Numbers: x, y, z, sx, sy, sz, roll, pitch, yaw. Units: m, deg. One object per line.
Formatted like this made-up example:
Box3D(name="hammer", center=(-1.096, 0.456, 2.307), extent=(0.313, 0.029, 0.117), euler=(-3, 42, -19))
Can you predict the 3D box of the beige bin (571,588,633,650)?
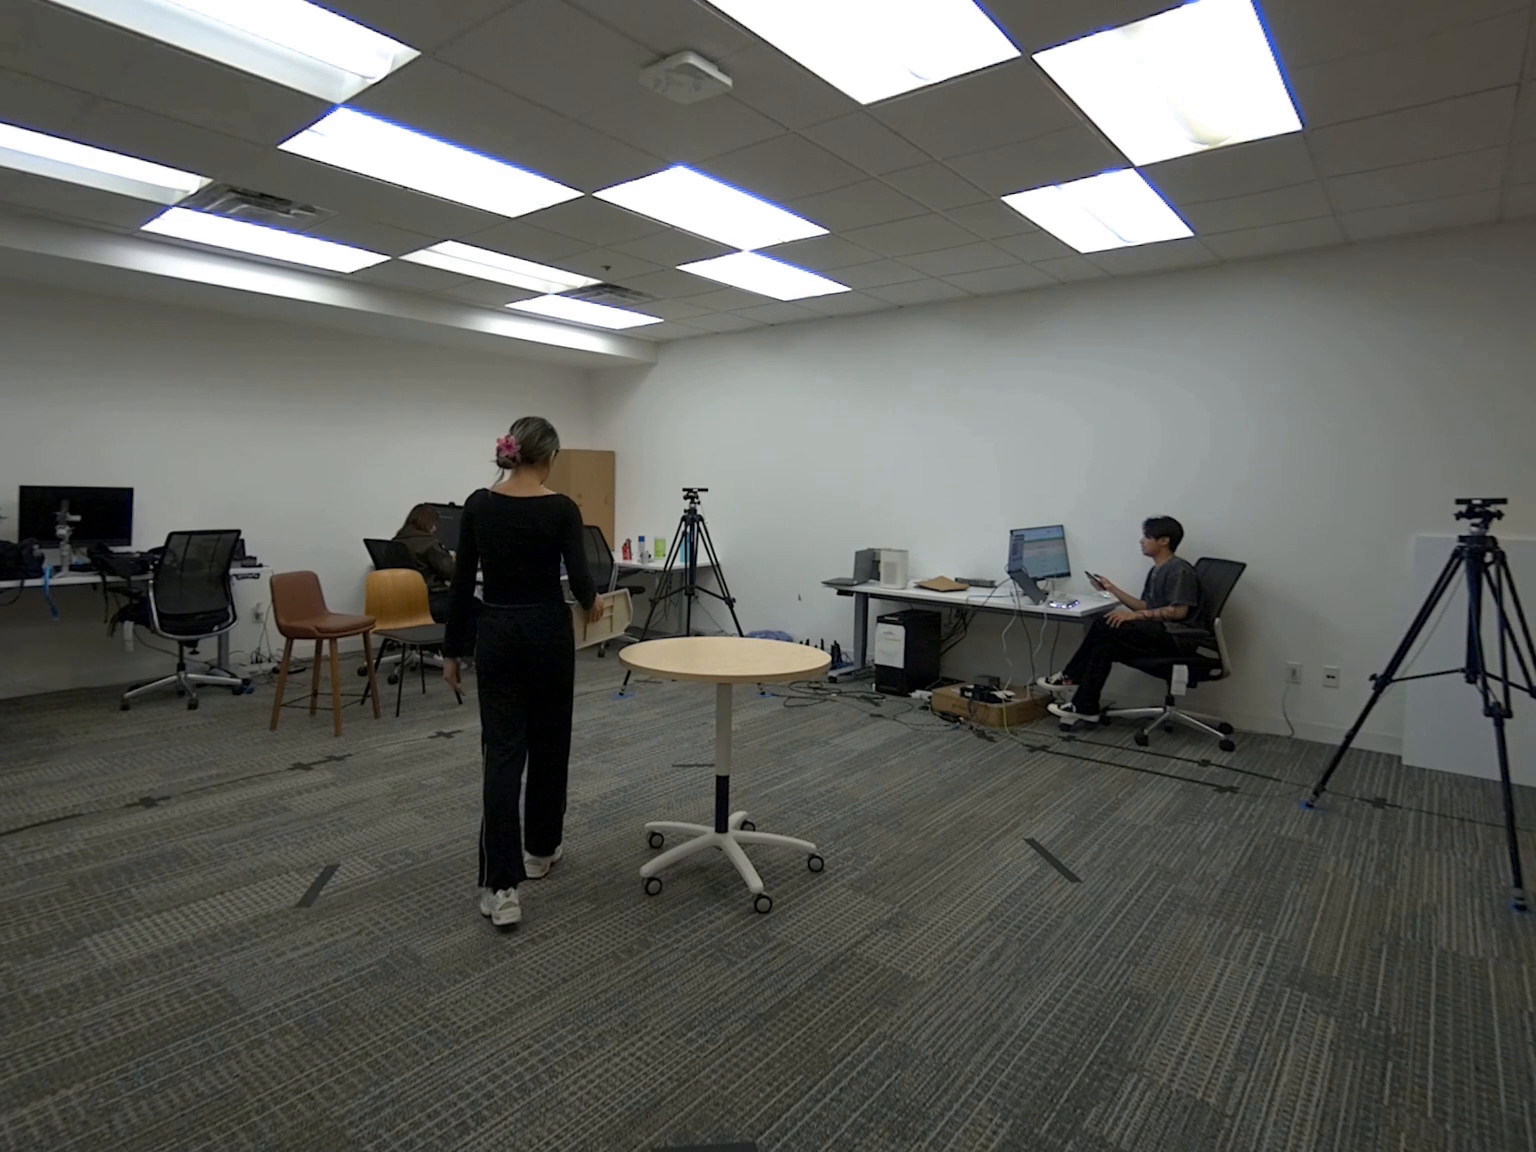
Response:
Box3D(name="beige bin", center=(-0.810, 0.137, 3.299), extent=(0.434, 0.187, 0.369), euler=(5, 10, 27))
